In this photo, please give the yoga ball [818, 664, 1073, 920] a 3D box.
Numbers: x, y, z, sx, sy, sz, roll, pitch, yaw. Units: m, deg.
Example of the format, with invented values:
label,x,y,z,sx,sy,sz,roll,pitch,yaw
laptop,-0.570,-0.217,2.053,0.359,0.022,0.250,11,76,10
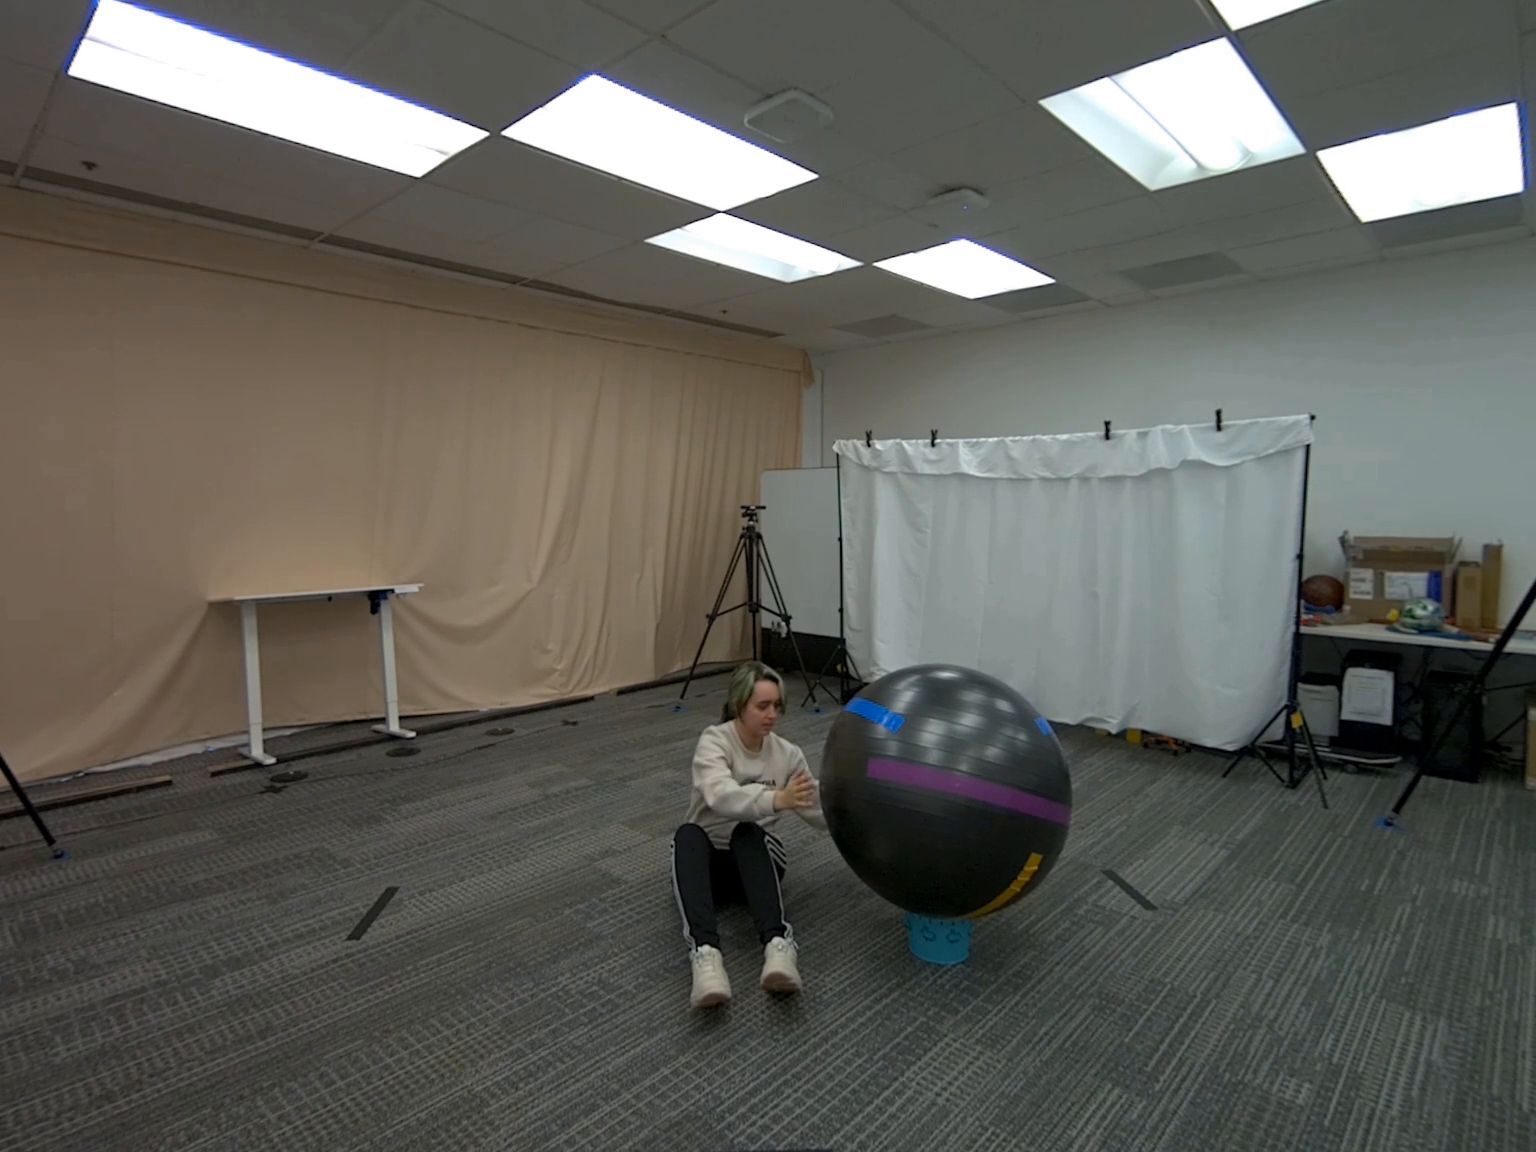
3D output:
label,x,y,z,sx,sy,sz,roll,pitch,yaw
yoga ball,0.549,0.667,2.625,0.757,0.756,0.761,0,4,-2
